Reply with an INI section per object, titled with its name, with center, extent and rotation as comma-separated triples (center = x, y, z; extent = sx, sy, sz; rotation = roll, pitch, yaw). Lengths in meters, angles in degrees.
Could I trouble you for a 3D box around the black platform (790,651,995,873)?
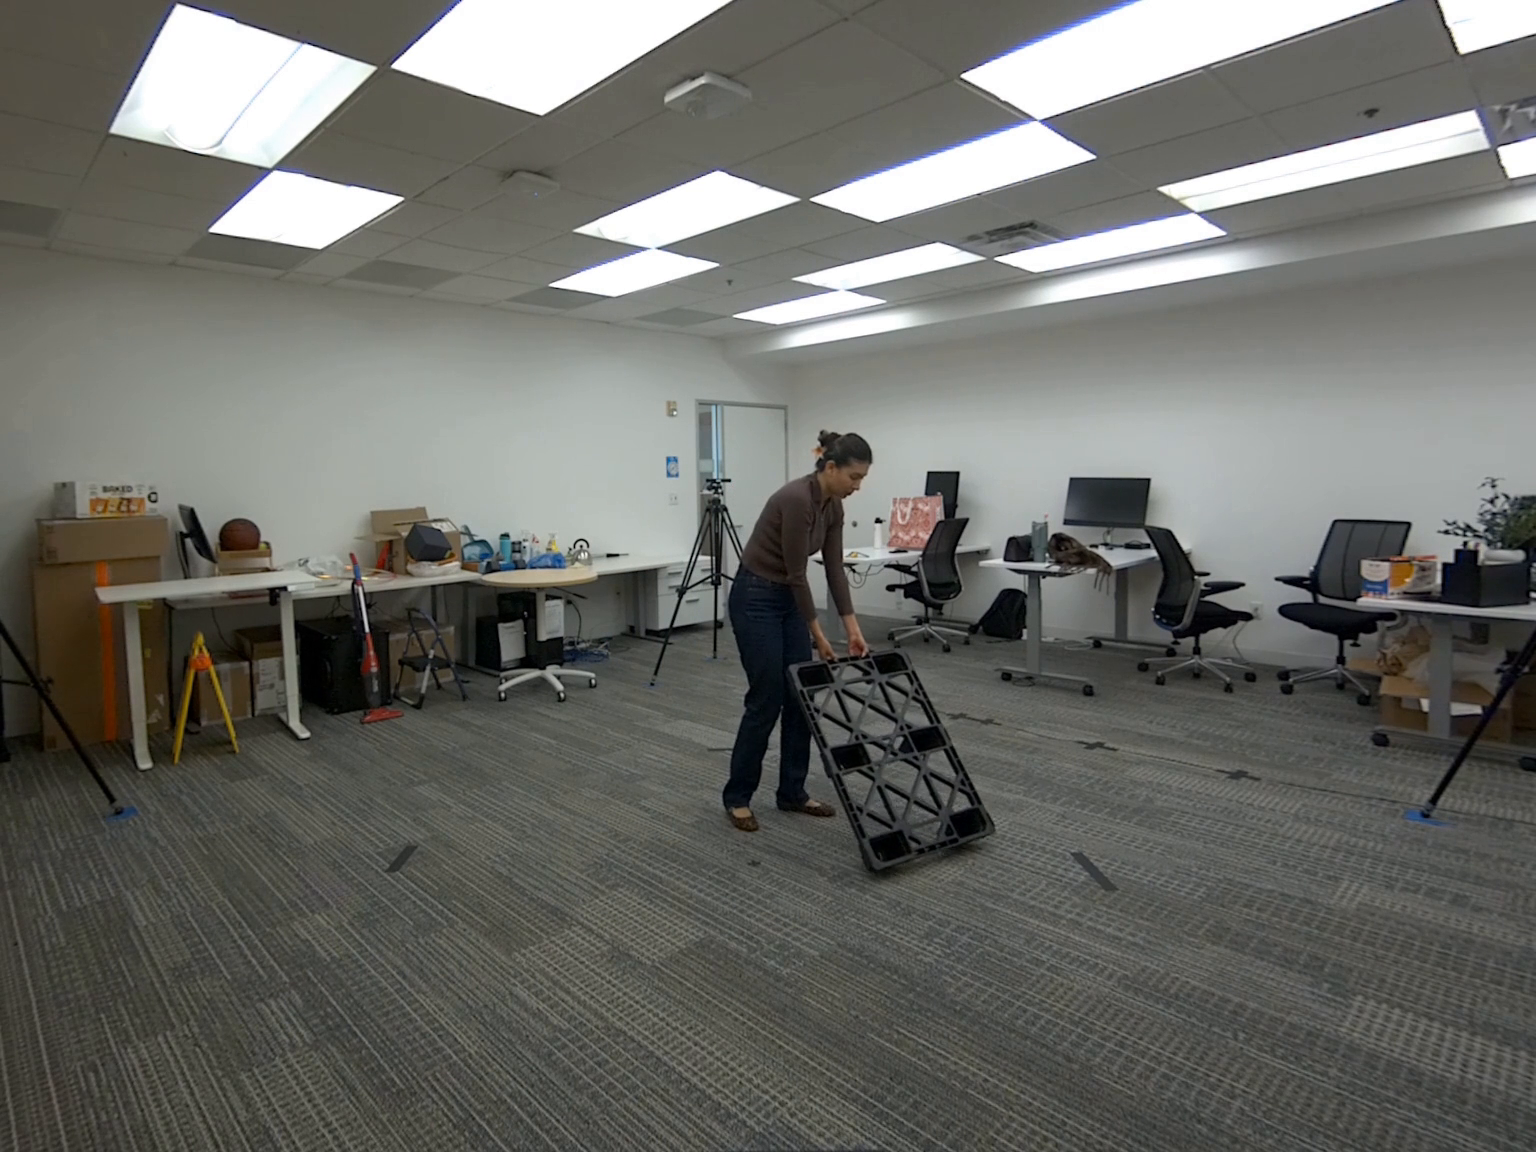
[black platform]
center = 0.444, 0.683, 3.304
extent = 0.590, 0.831, 0.142
rotation = -3, -35, -31
